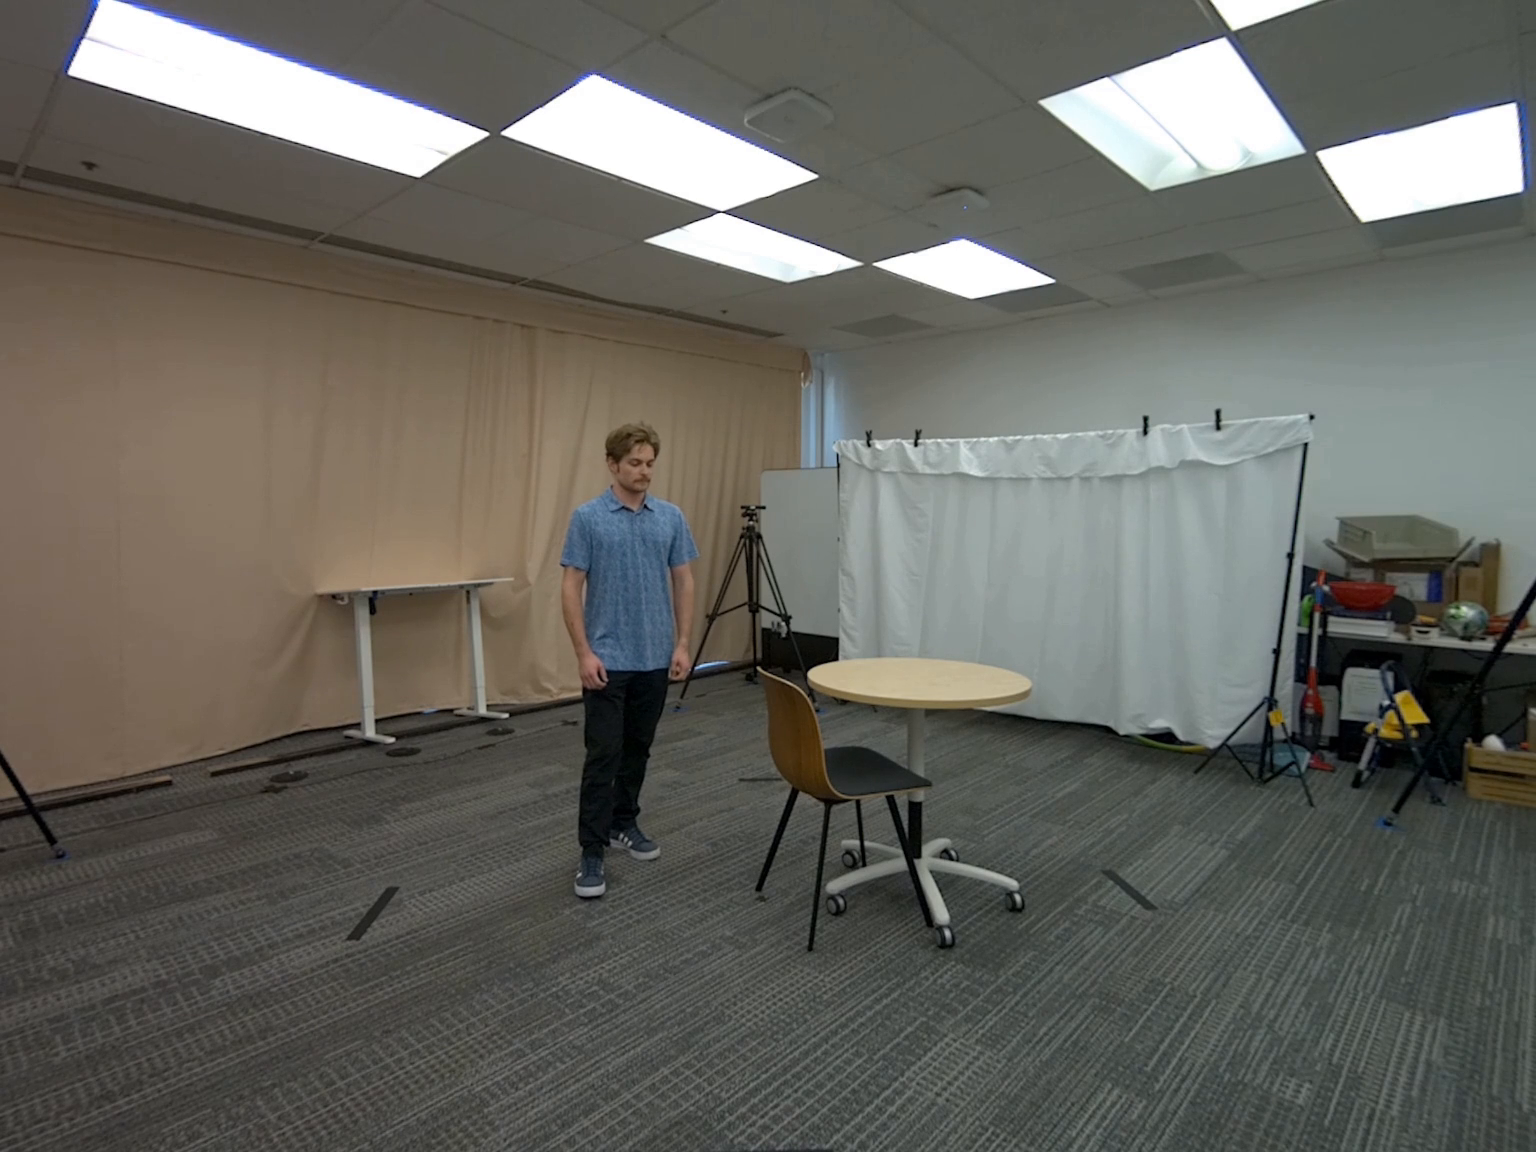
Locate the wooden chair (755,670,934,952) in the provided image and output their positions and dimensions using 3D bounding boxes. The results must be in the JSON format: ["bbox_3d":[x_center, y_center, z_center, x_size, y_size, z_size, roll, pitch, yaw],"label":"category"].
[{"bbox_3d":[0.255,0.723,2.878,0.513,0.875,0.489,-6,4,-21],"label":"wooden chair"}]
